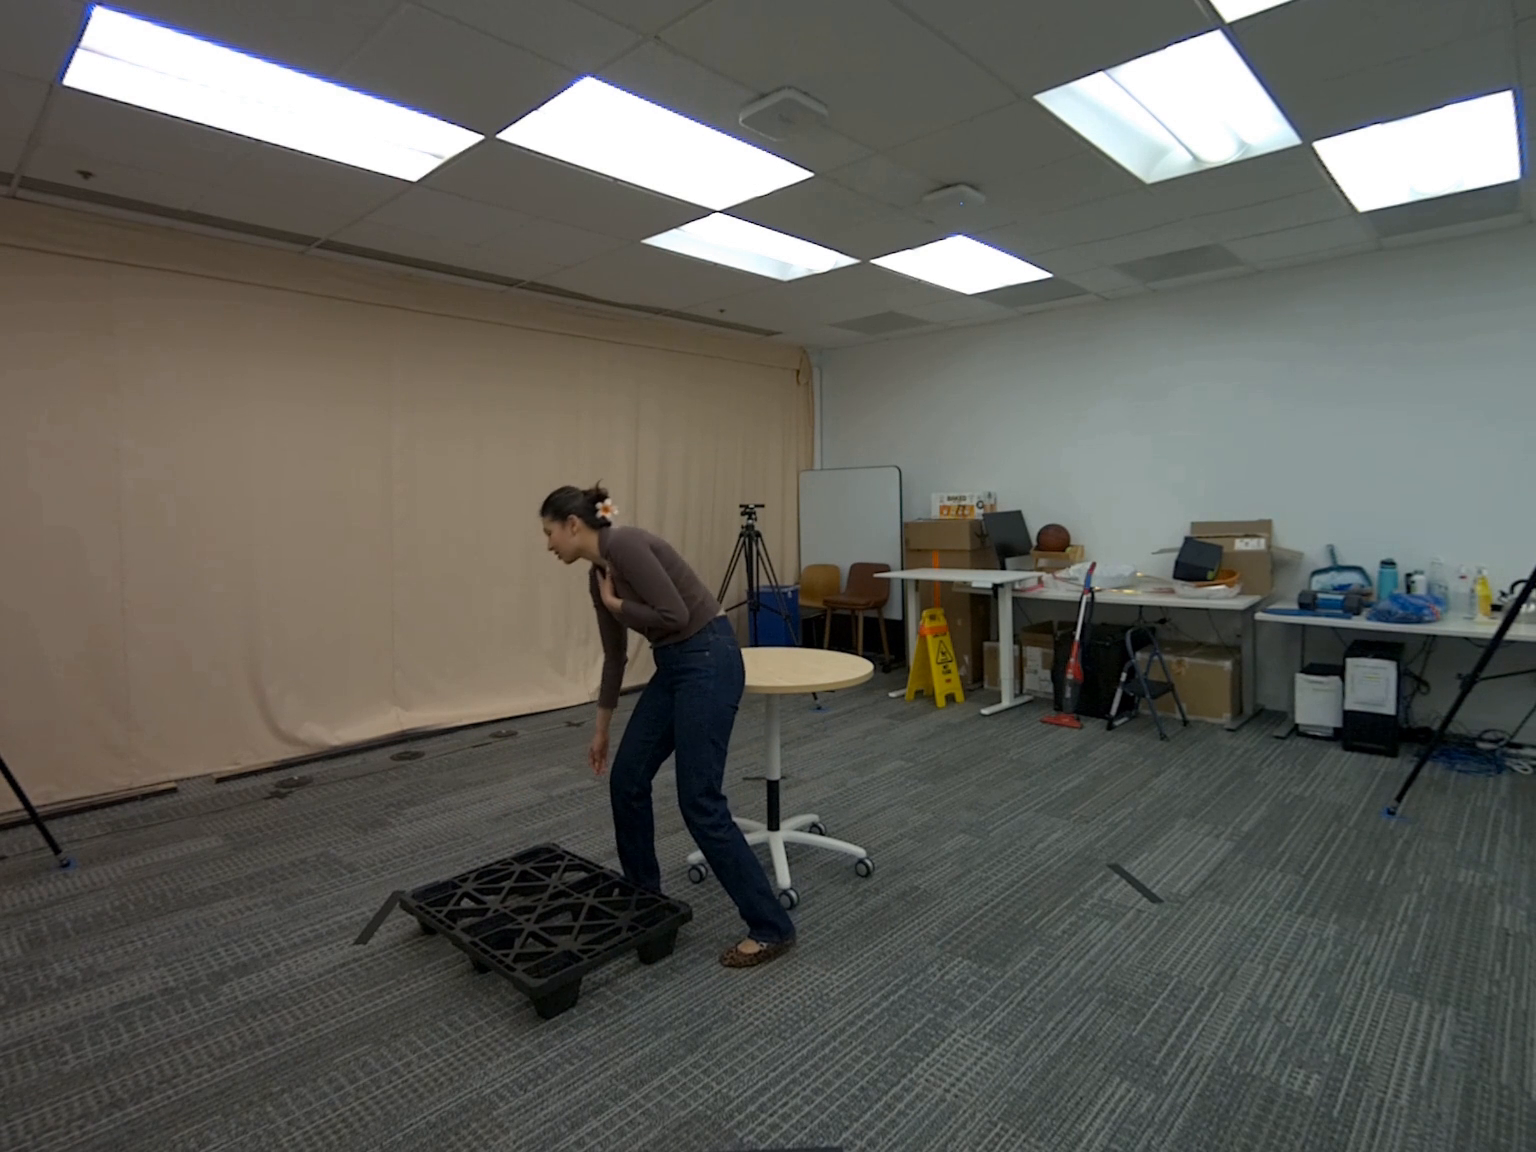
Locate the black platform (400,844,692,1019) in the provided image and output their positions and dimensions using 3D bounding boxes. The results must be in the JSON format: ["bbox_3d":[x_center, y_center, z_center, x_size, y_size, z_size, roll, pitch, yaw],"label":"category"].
[{"bbox_3d":[-0.727,1.115,2.709,0.832,0.143,0.587,3,6,43],"label":"black platform"}]
